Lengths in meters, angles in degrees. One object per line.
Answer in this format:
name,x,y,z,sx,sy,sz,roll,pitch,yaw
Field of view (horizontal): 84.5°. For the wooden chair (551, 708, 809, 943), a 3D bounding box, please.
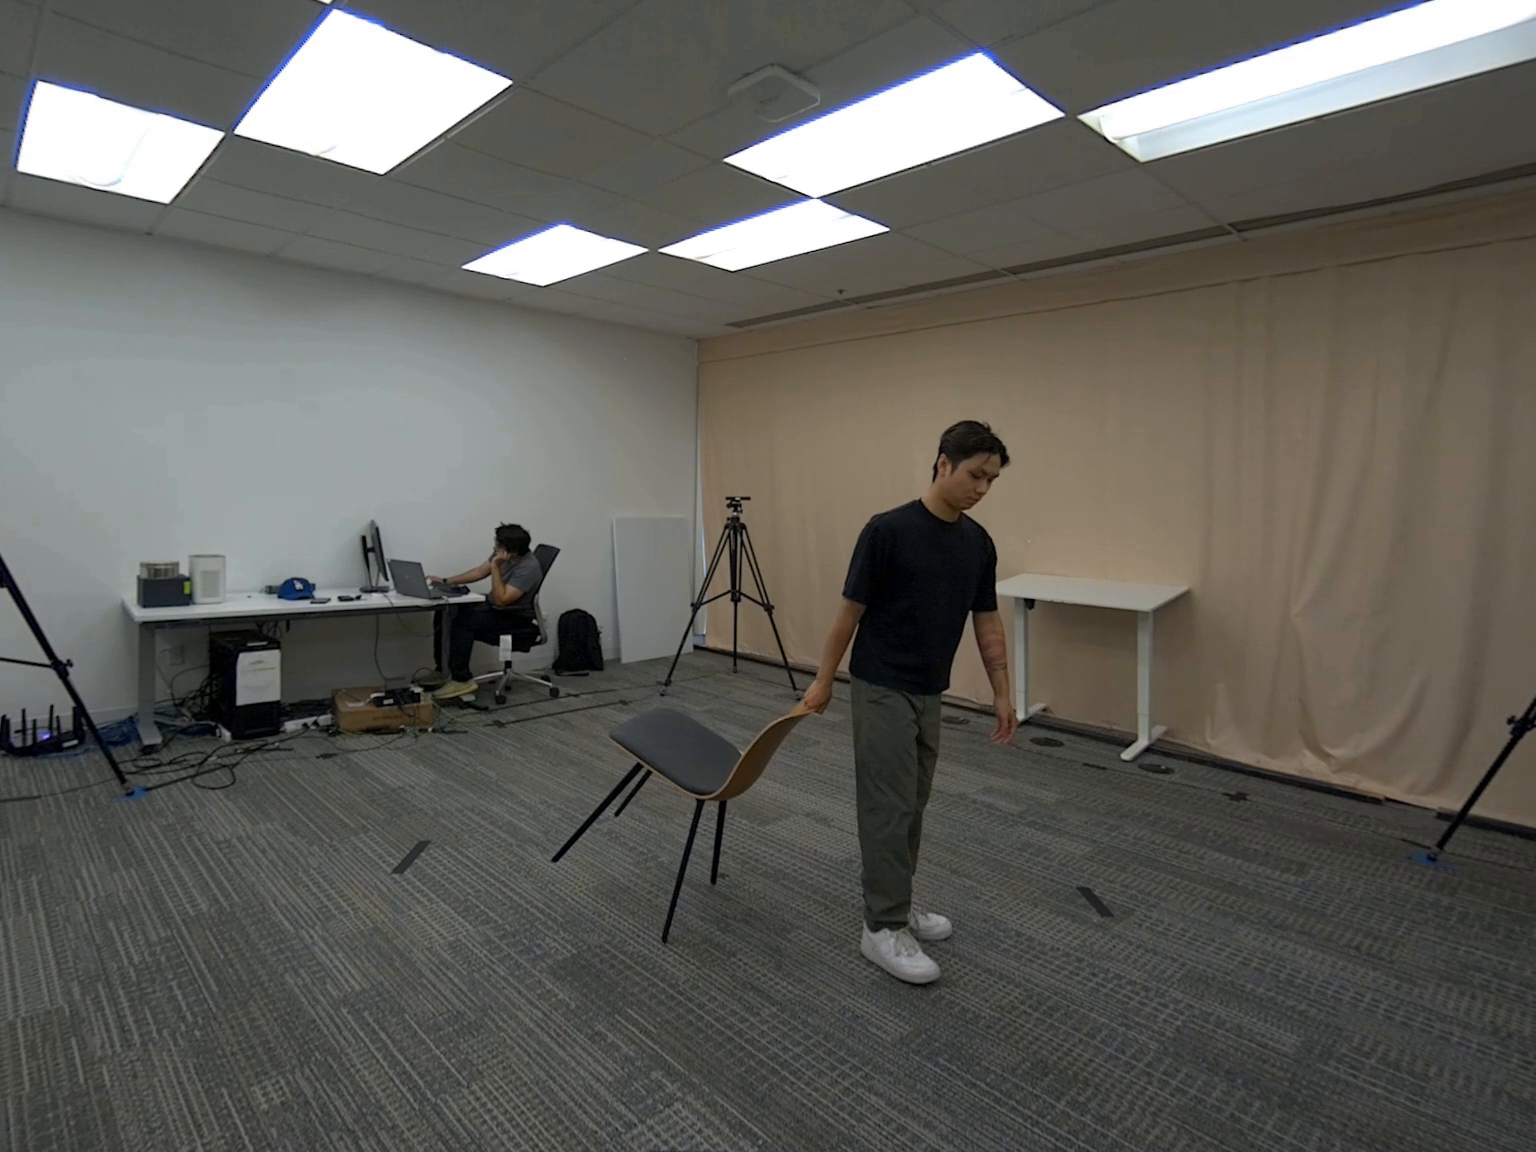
wooden chair,-0.273,0.642,2.808,0.532,0.874,0.471,34,13,16
